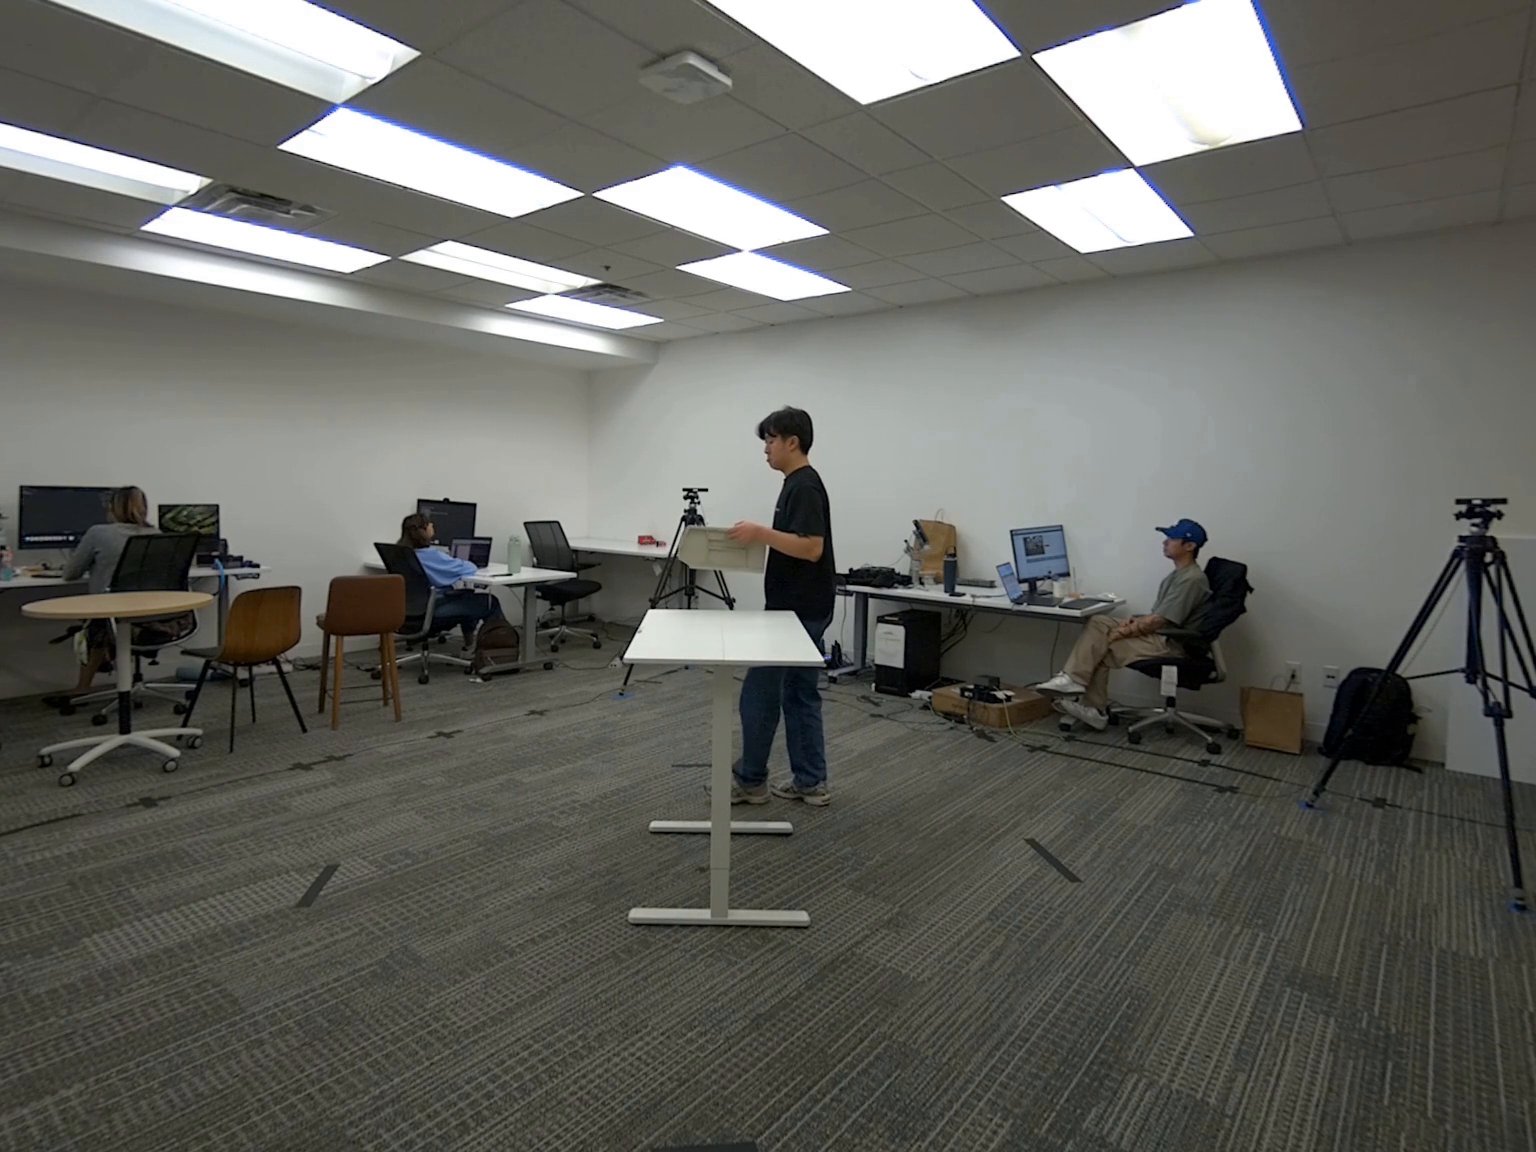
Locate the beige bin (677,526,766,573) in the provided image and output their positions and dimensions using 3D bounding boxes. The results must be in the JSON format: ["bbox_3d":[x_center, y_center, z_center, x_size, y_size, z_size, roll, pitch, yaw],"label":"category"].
[{"bbox_3d":[-0.235,-0.109,3.759,0.375,0.189,0.424,6,-2,-6],"label":"beige bin"}]
